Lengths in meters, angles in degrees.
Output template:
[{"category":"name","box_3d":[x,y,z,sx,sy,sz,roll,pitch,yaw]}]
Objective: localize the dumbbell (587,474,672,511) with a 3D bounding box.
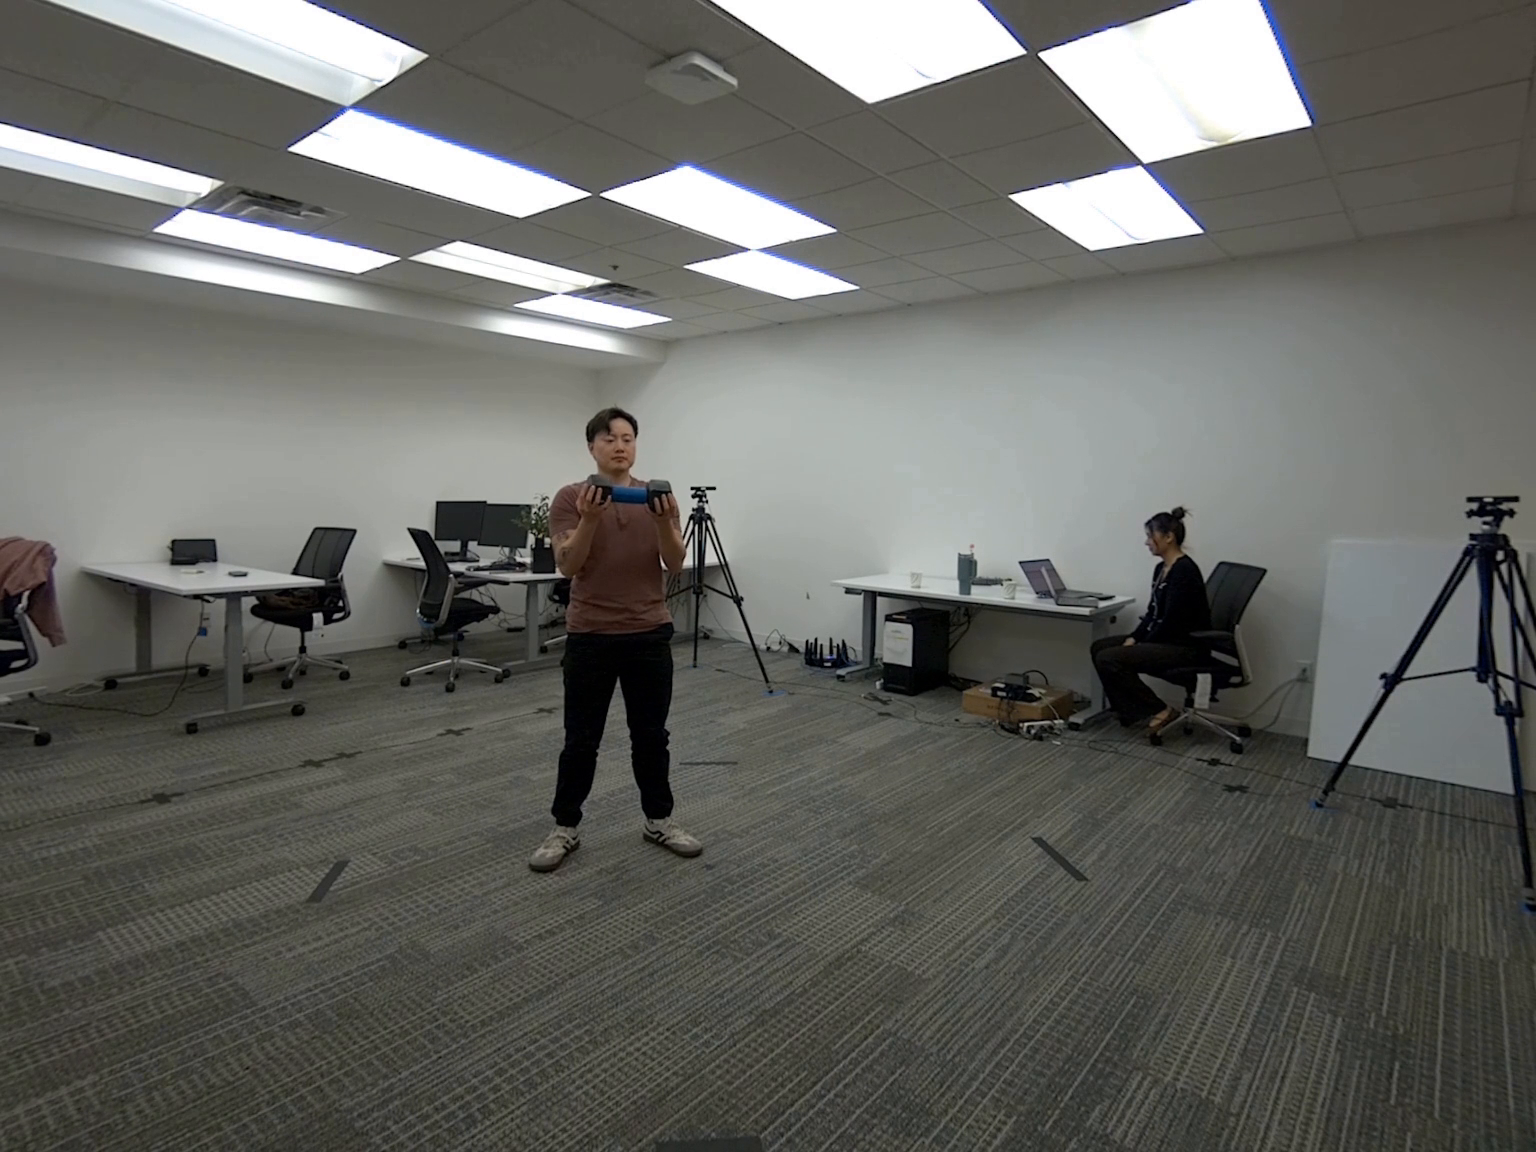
[{"category":"dumbbell","box_3d":[-0.503,-0.285,2.957,0.289,0.110,0.123,3,-17,-14]}]
